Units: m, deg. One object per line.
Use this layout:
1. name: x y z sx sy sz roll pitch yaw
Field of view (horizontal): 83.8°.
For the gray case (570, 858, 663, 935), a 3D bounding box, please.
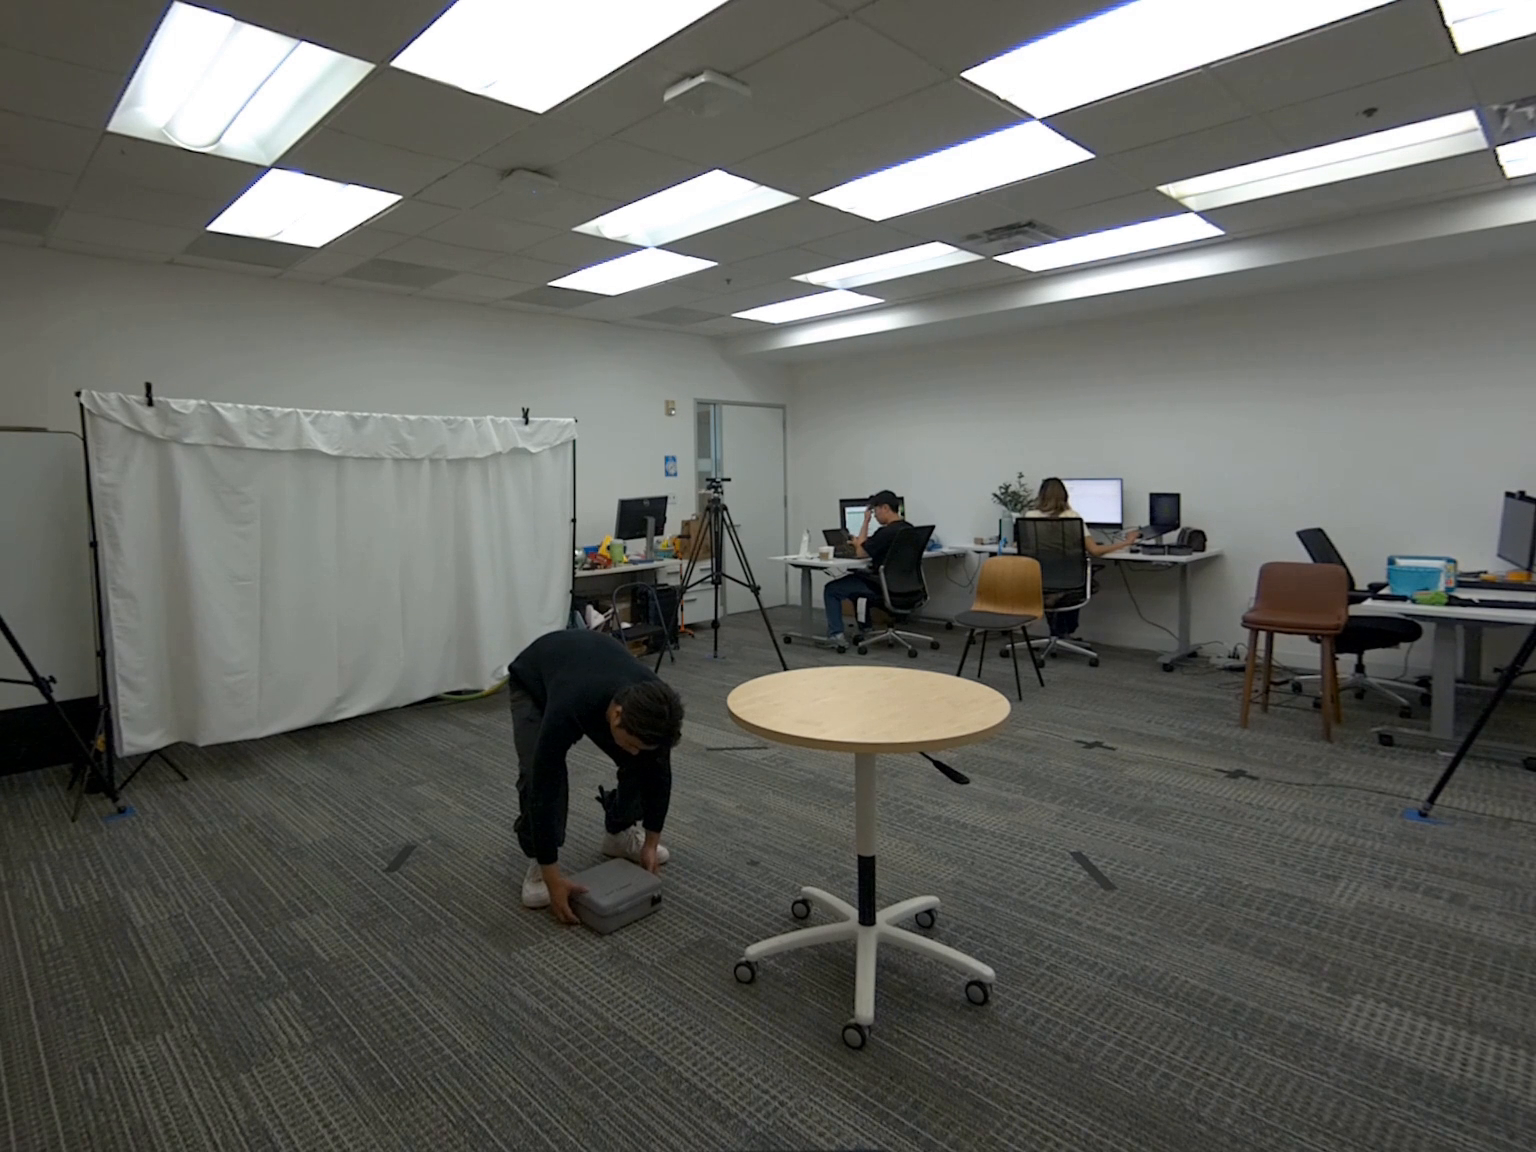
1. gray case: -0.515 1.033 2.780 0.269 0.104 0.250 5 10 44
